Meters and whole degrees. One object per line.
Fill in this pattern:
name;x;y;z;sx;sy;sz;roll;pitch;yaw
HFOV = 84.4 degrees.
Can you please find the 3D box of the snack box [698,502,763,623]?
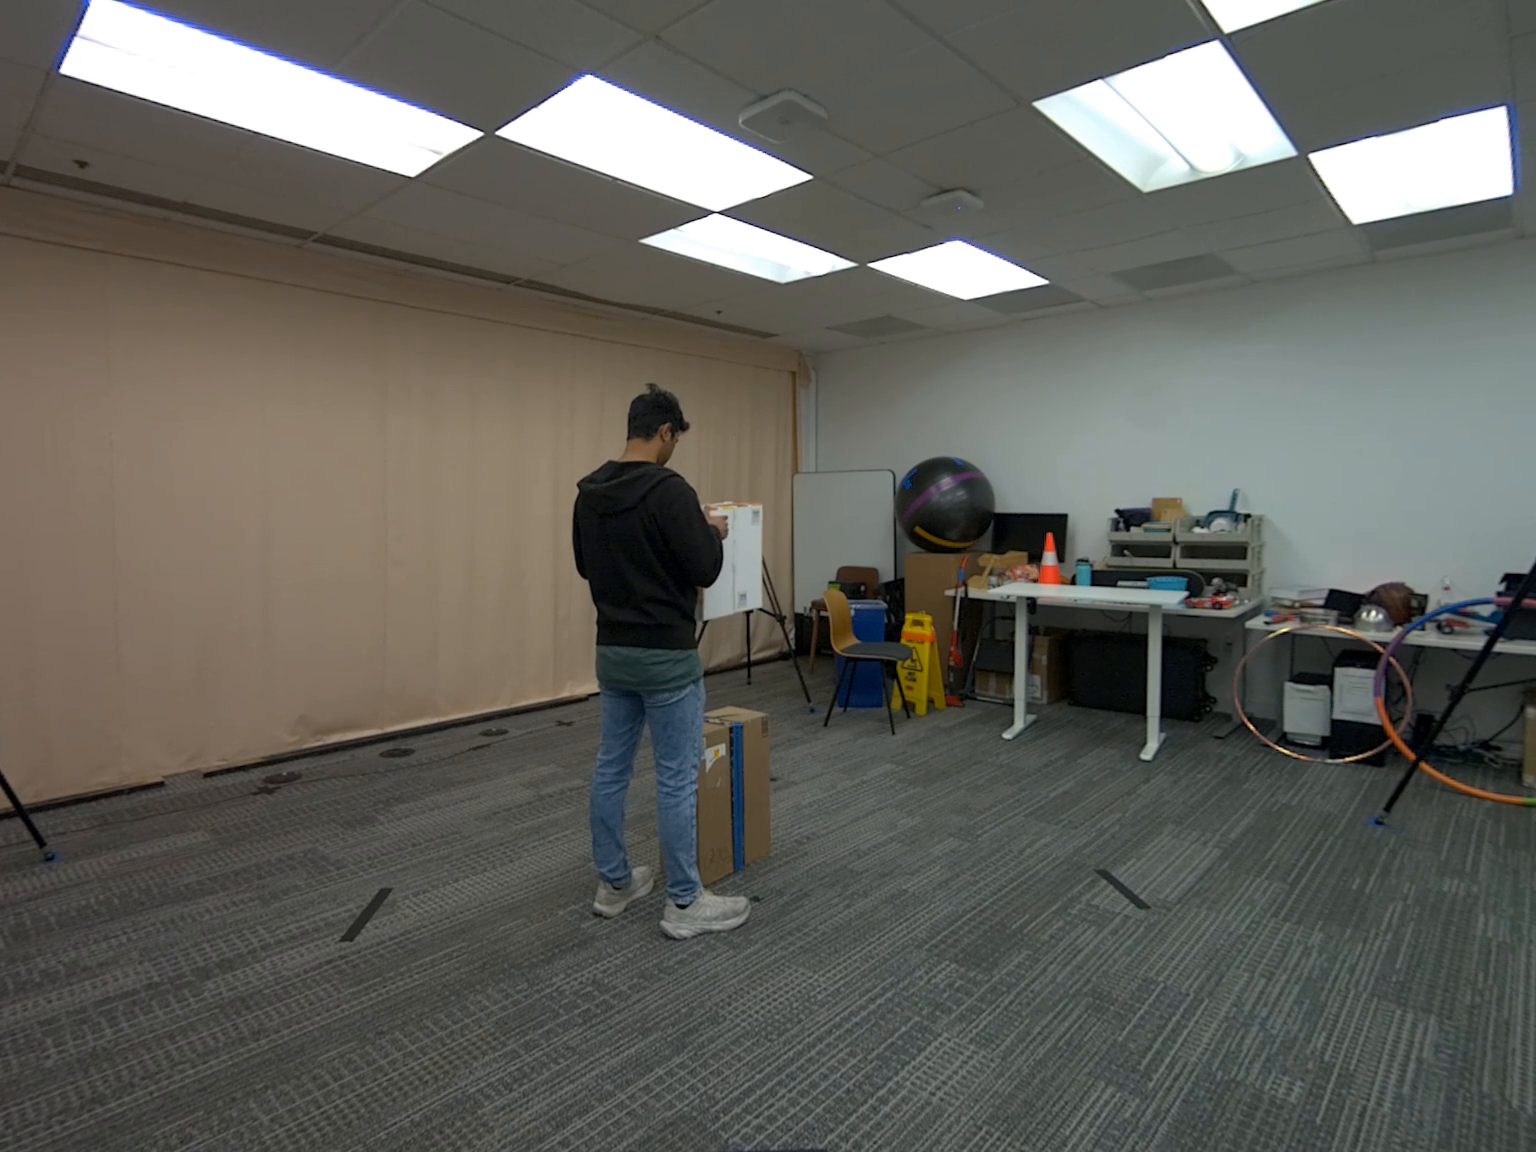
snack box;-0.198;-0.054;3.196;0.213;0.403;0.330;5;10;41
